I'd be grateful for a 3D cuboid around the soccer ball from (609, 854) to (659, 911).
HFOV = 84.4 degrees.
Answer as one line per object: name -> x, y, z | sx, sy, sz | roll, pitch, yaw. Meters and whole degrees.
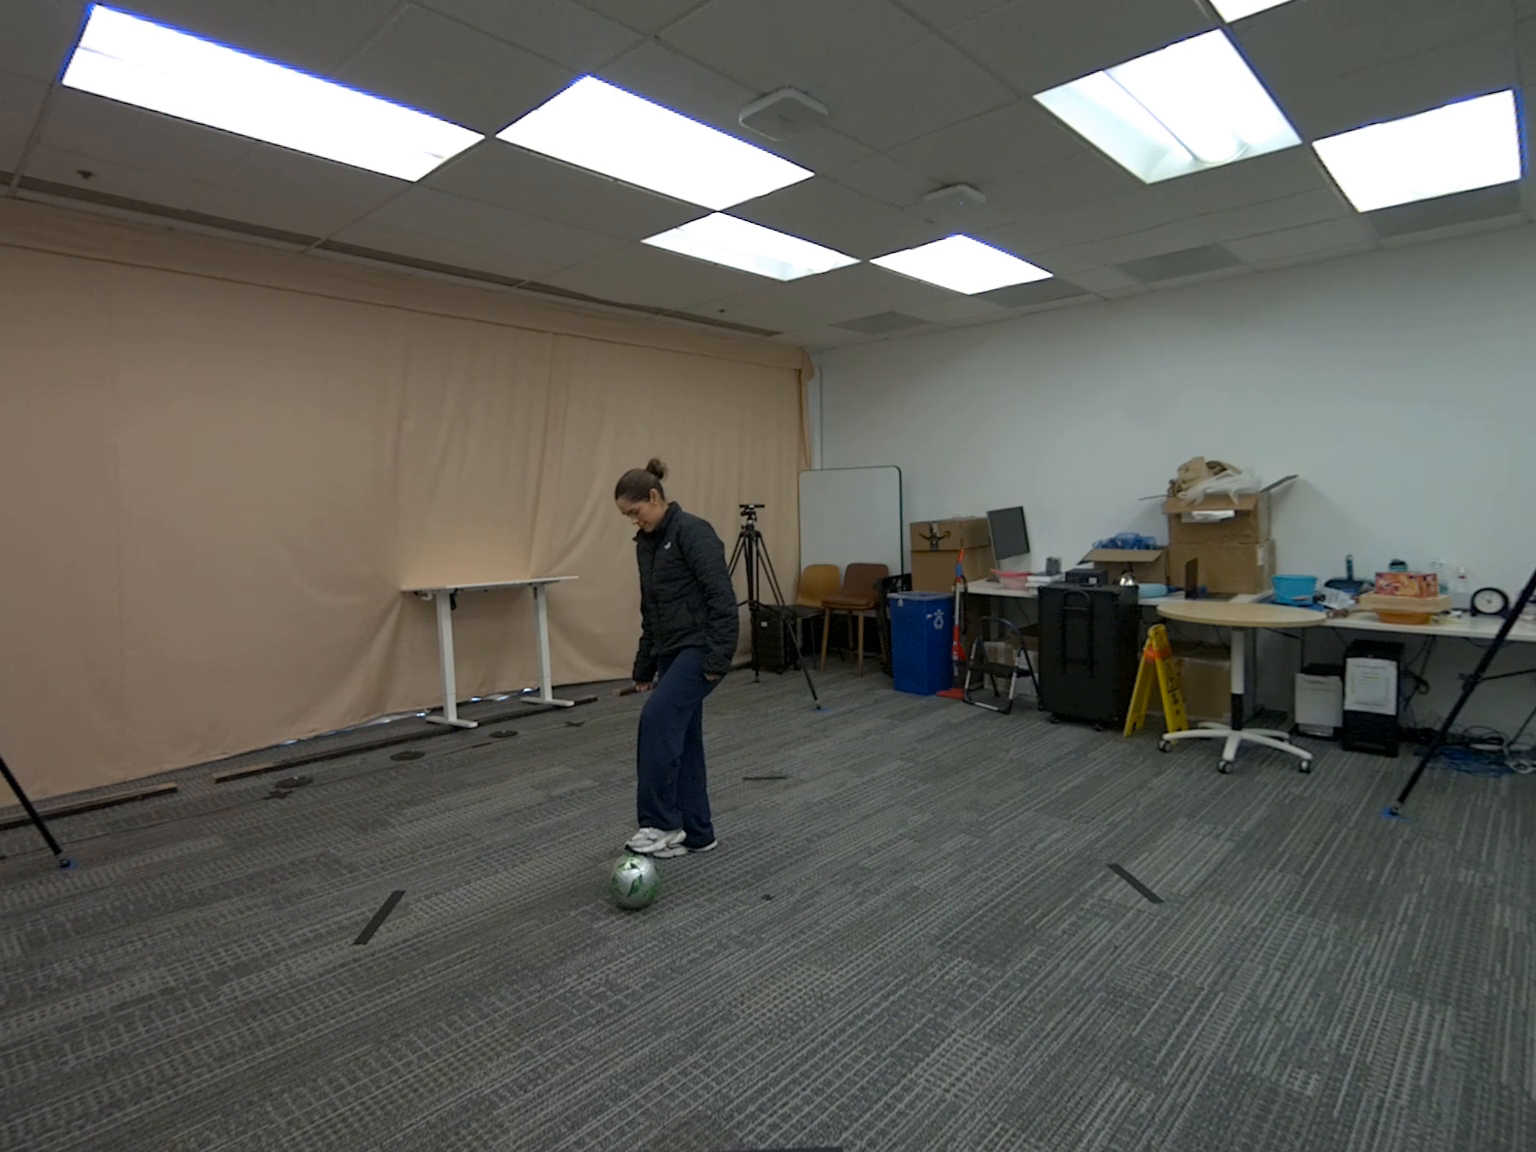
soccer ball -> -0.465, 1.060, 2.939 | 0.187, 0.187, 0.188 | -1, 4, -2
